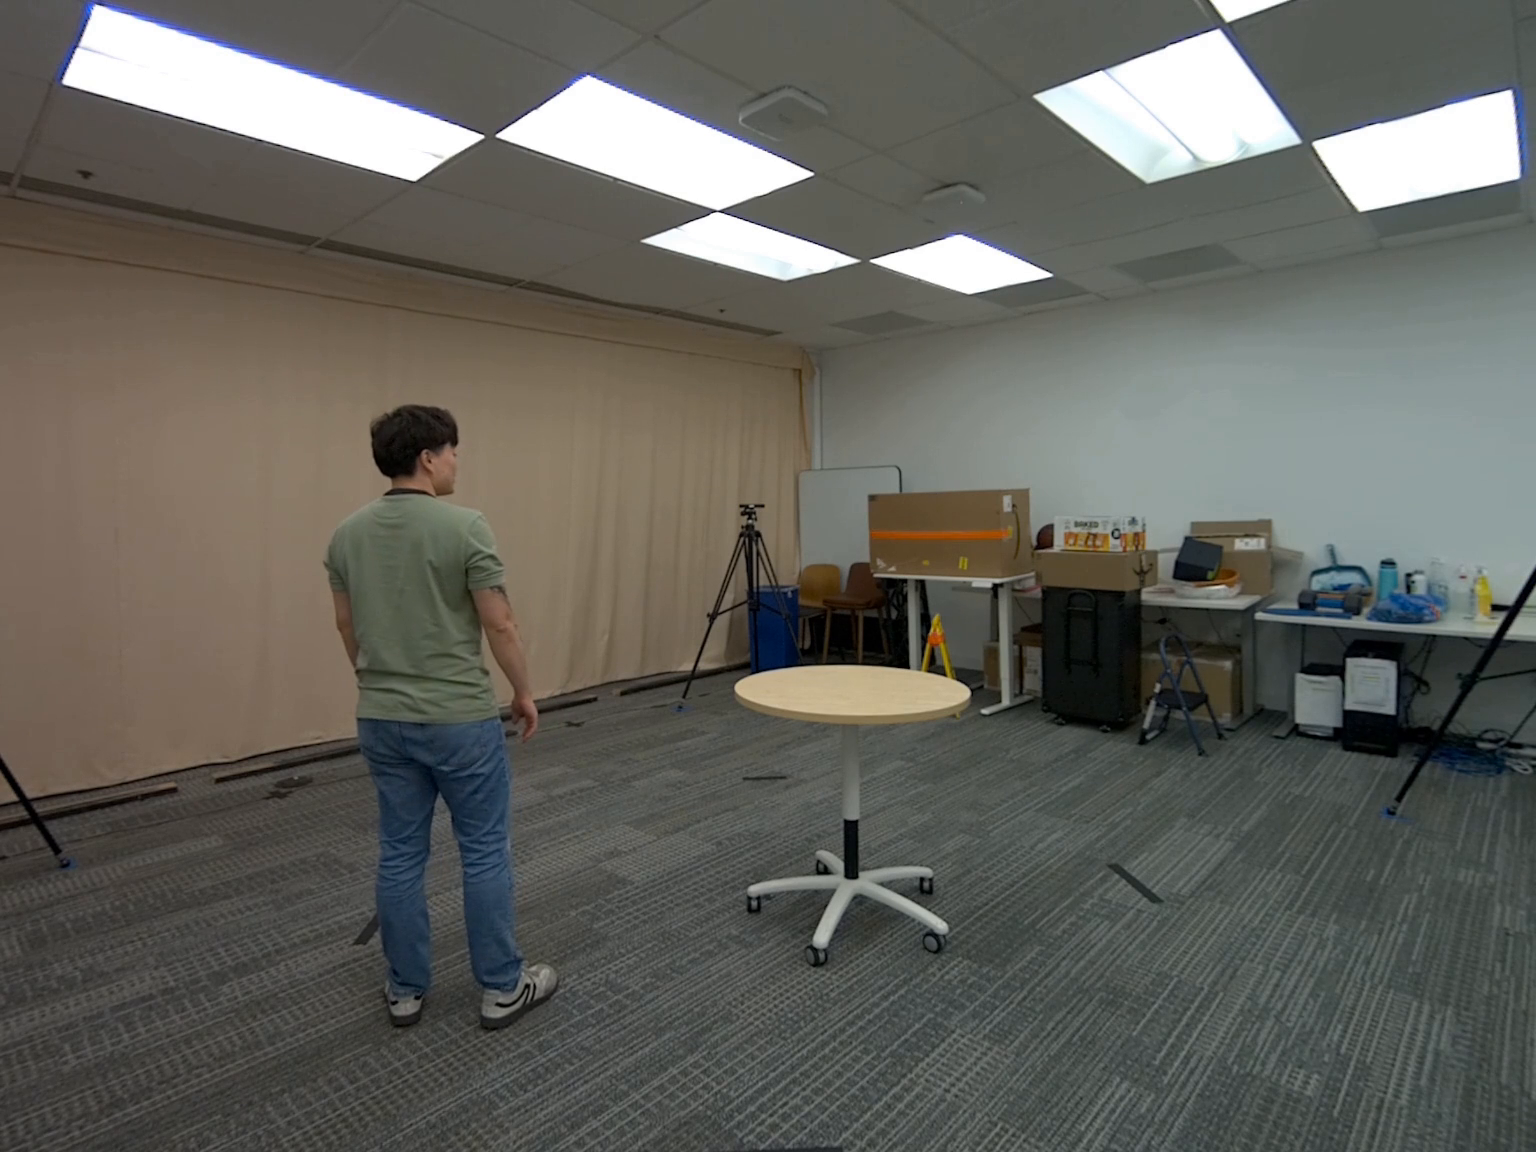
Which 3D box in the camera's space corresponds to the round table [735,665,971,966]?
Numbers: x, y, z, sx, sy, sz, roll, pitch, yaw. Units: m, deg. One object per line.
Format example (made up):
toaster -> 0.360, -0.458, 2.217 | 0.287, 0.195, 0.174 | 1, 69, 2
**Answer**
round table -> 0.281, 0.762, 2.806 | 0.763, 0.792, 0.766 | -1, 4, -2
